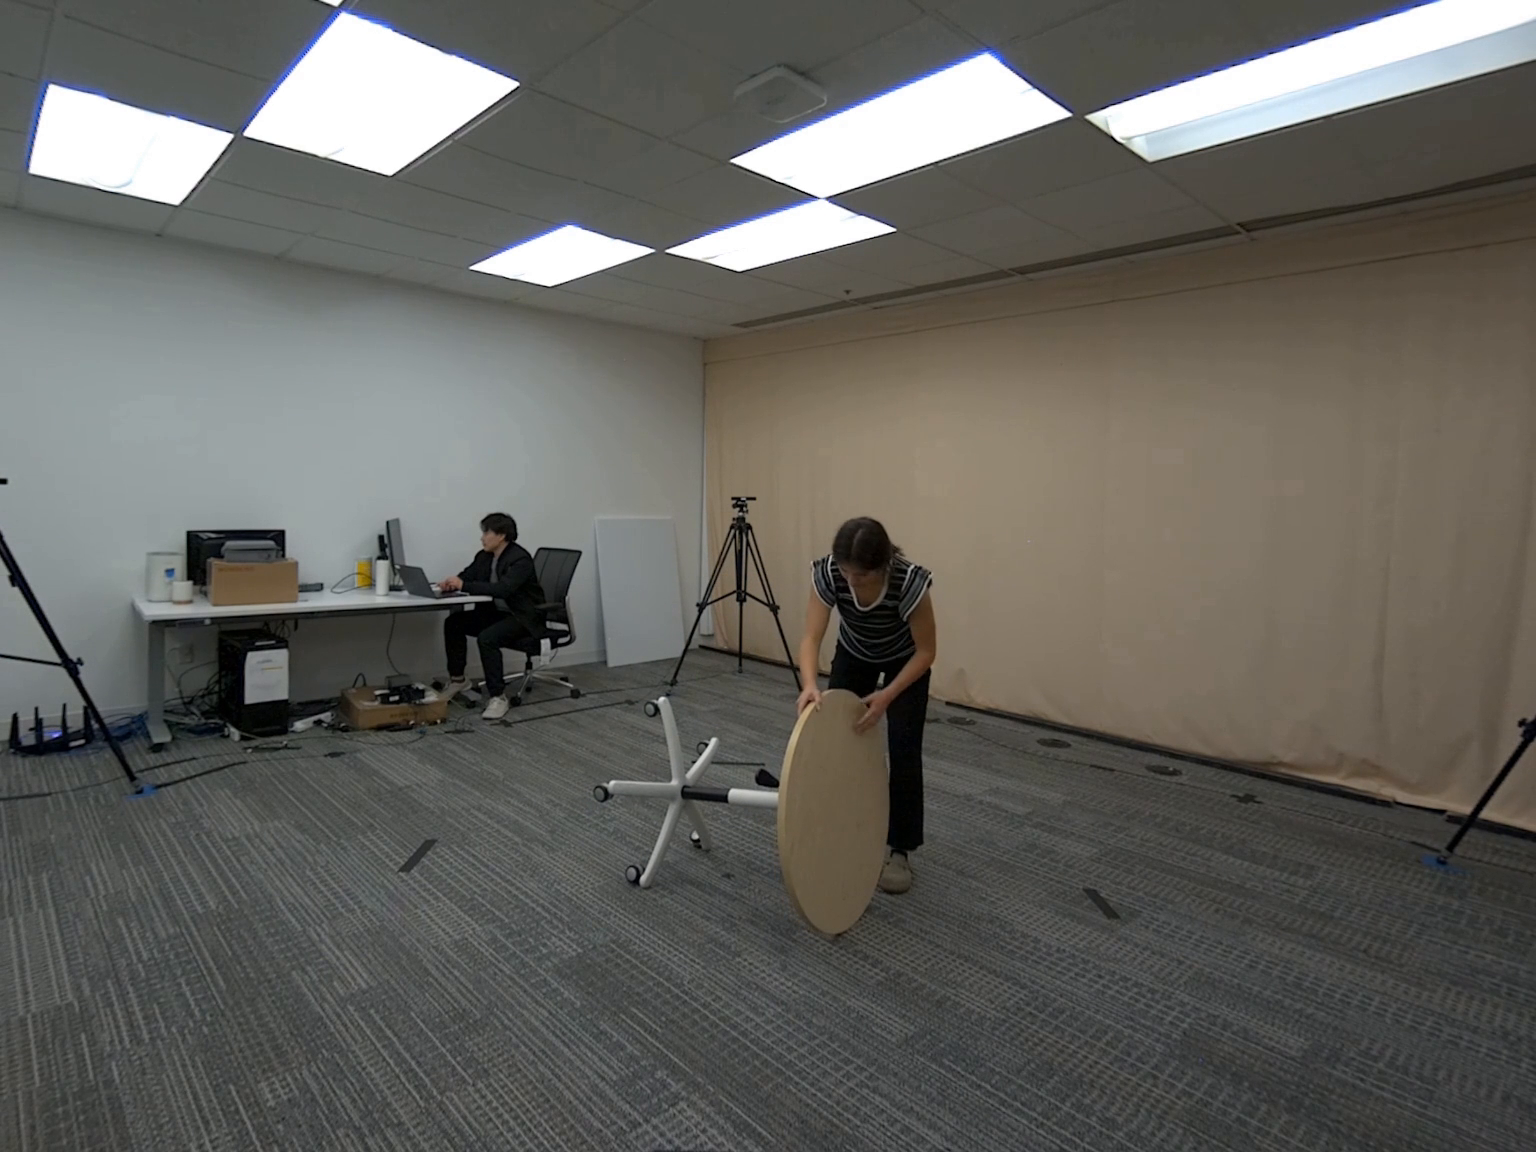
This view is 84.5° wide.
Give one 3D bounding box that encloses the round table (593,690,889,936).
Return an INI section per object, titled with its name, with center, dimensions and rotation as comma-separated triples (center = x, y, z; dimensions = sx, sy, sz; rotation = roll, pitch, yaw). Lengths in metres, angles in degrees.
[round table]
center = -0.093, 0.791, 2.989
dimensions = 0.809, 0.764, 0.749
rotation = -5, 0, 32
